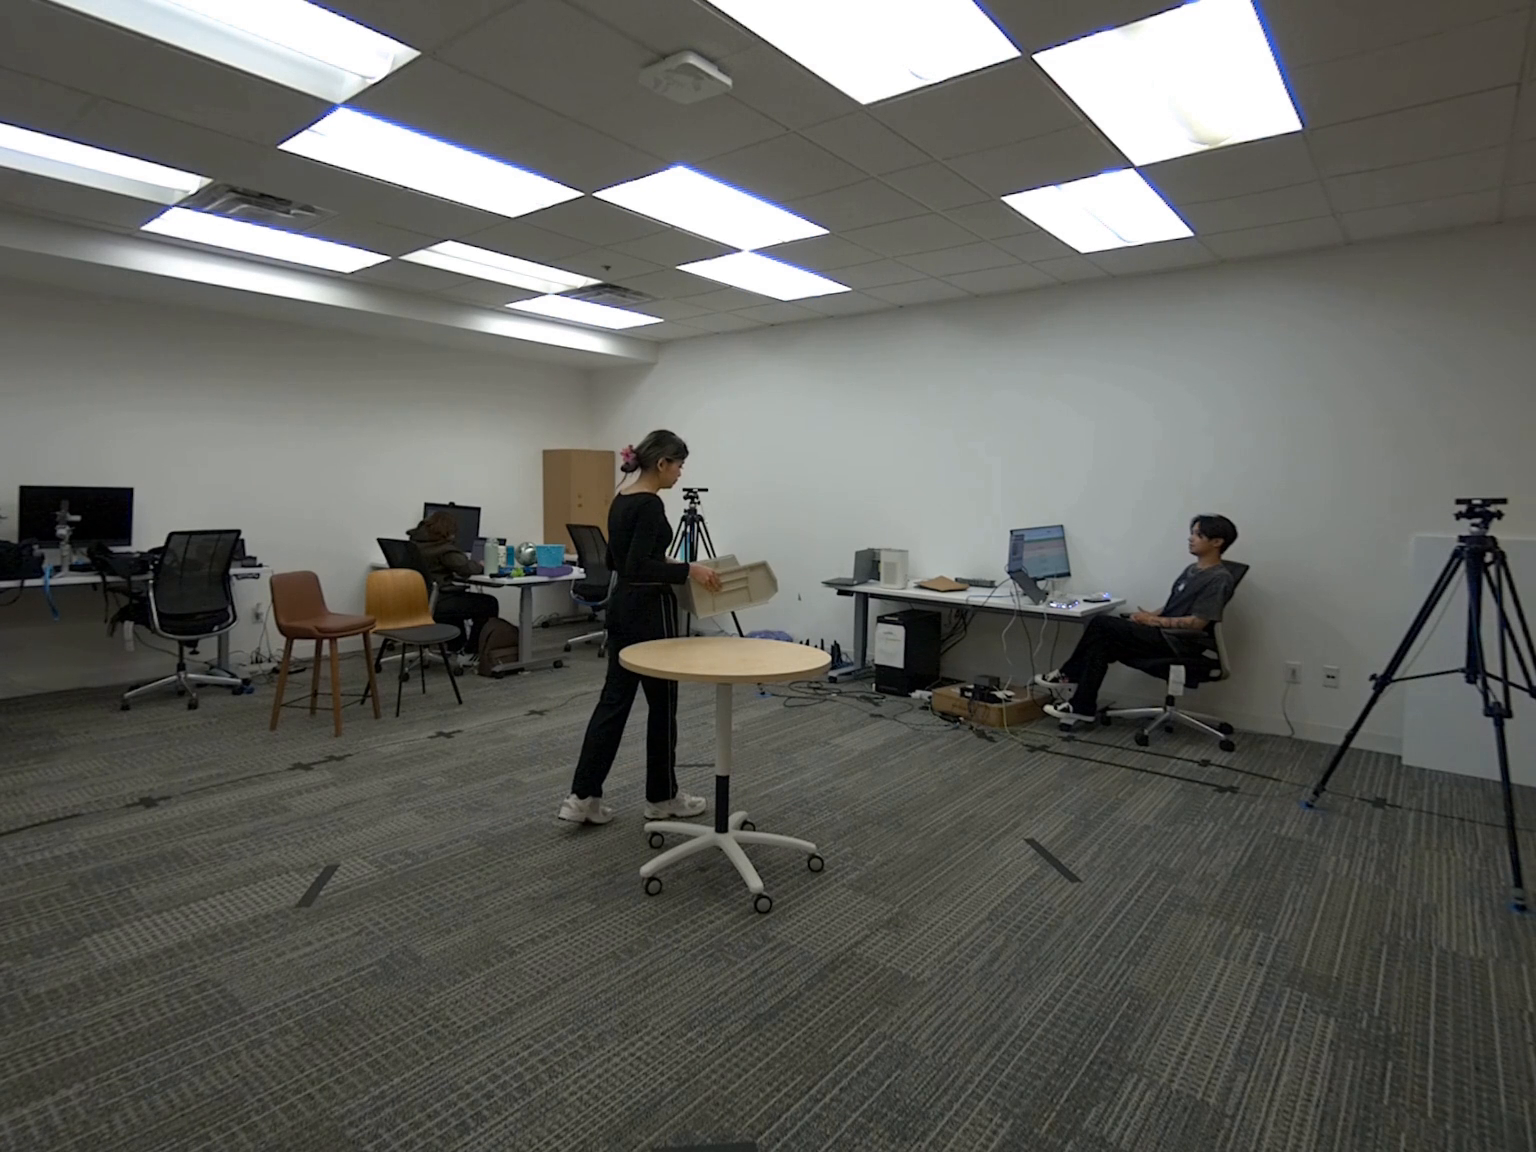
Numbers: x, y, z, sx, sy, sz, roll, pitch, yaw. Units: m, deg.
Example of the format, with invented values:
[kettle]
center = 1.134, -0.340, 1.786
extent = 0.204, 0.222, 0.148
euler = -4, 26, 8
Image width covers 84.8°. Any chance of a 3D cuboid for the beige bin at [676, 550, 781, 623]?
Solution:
[beige bin]
center = -0.214, 0.034, 3.687
extent = 0.372, 0.187, 0.432
euler = -13, 10, -18
